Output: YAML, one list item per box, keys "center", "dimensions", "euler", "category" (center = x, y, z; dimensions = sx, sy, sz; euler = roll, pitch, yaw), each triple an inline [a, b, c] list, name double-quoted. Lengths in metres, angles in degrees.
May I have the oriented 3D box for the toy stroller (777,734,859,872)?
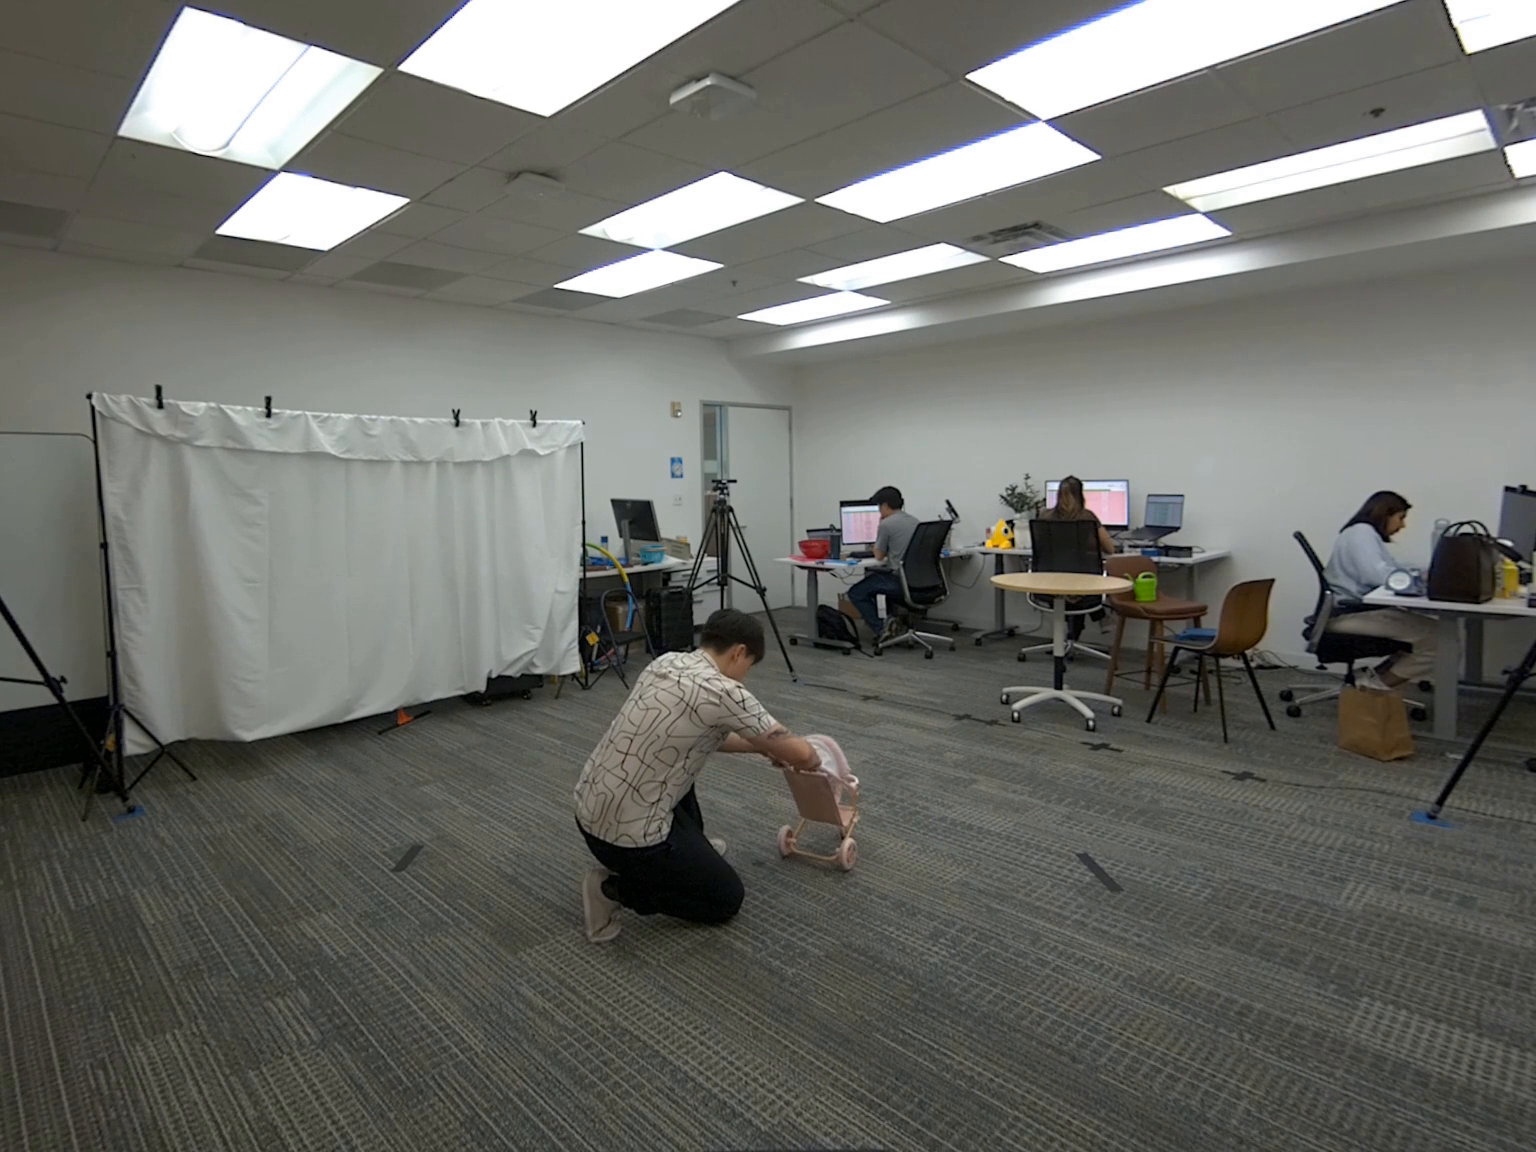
- center: [0.202, 0.811, 3.154]
  dimensions: [0.289, 0.526, 0.338]
  euler: [2, 21, 34]
  category: "toy stroller"
